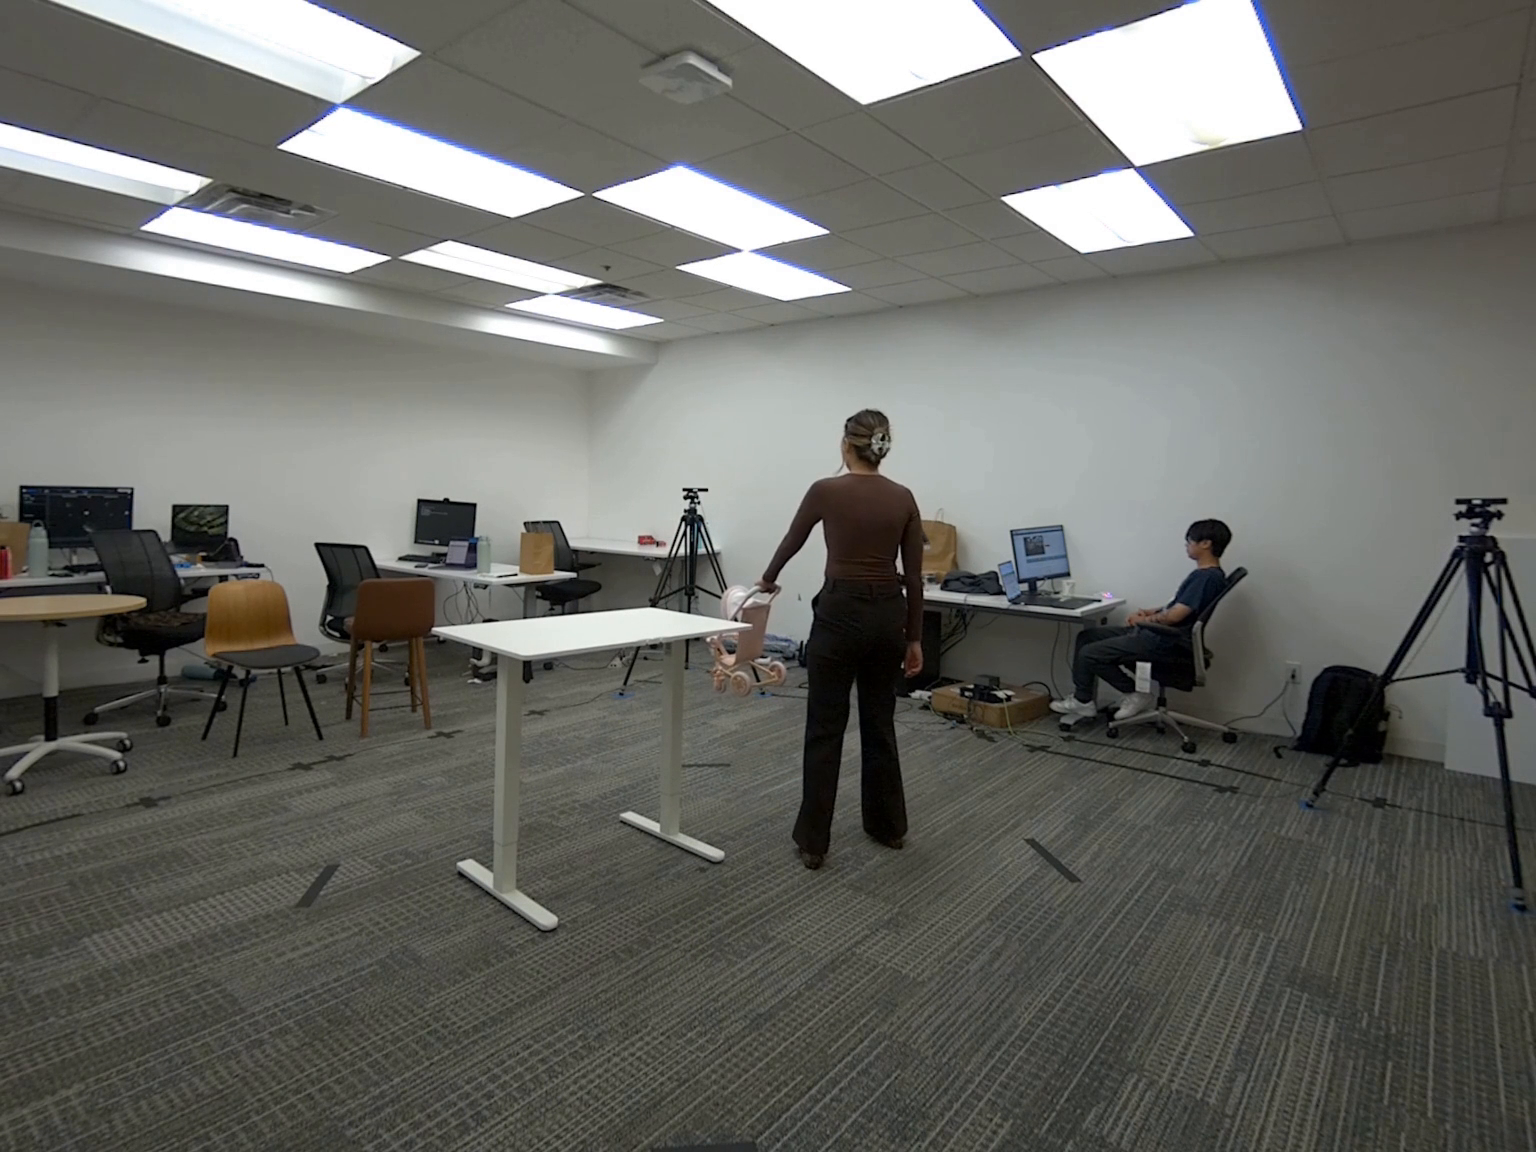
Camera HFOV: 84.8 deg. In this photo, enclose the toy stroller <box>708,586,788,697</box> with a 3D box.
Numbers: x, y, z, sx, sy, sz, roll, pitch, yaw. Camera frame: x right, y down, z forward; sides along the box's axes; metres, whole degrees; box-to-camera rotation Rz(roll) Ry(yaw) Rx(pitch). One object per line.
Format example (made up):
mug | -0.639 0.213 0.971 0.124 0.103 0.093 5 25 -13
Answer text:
toy stroller | -0.124 0.282 3.790 0.273 0.531 0.353 -6 10 -44
